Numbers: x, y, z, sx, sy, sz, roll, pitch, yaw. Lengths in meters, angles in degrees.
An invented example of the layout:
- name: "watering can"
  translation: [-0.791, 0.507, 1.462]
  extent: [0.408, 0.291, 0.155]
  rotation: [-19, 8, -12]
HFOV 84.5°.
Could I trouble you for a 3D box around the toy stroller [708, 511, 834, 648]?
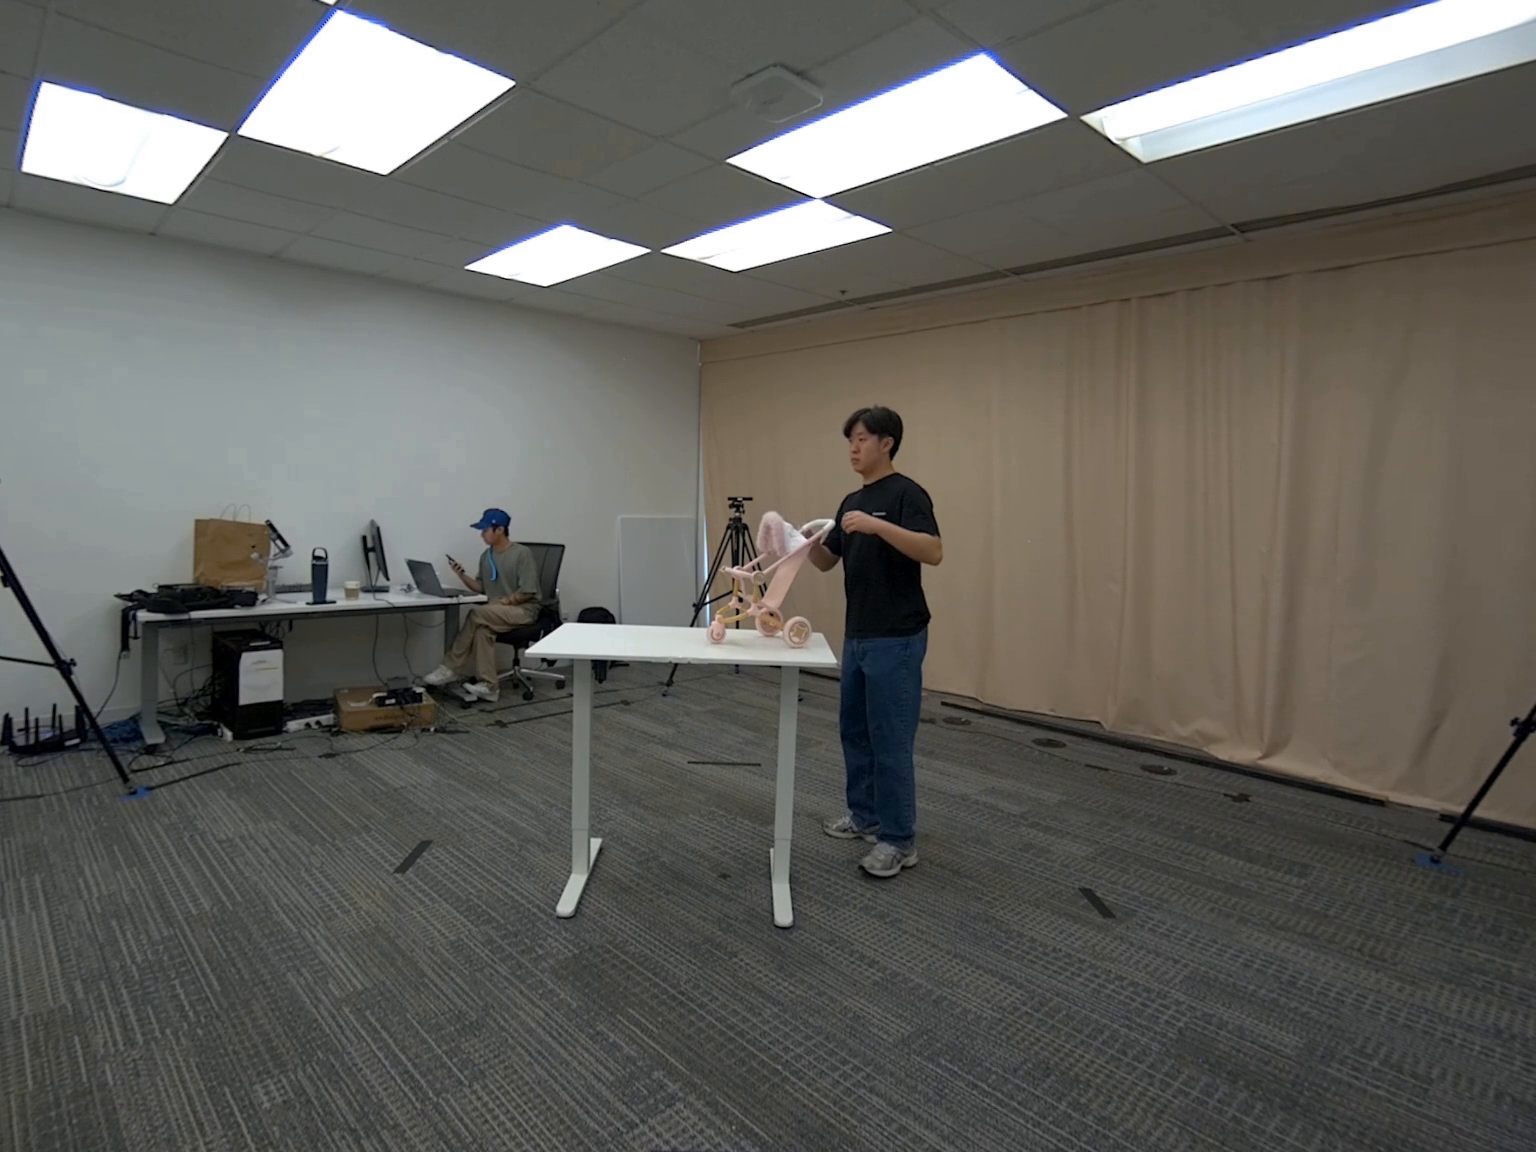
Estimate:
- name: "toy stroller"
  translation: [-0.009, 0.013, 2.993]
  extent: [0.336, 0.535, 0.285]
  rotation: [15, -1, -17]
